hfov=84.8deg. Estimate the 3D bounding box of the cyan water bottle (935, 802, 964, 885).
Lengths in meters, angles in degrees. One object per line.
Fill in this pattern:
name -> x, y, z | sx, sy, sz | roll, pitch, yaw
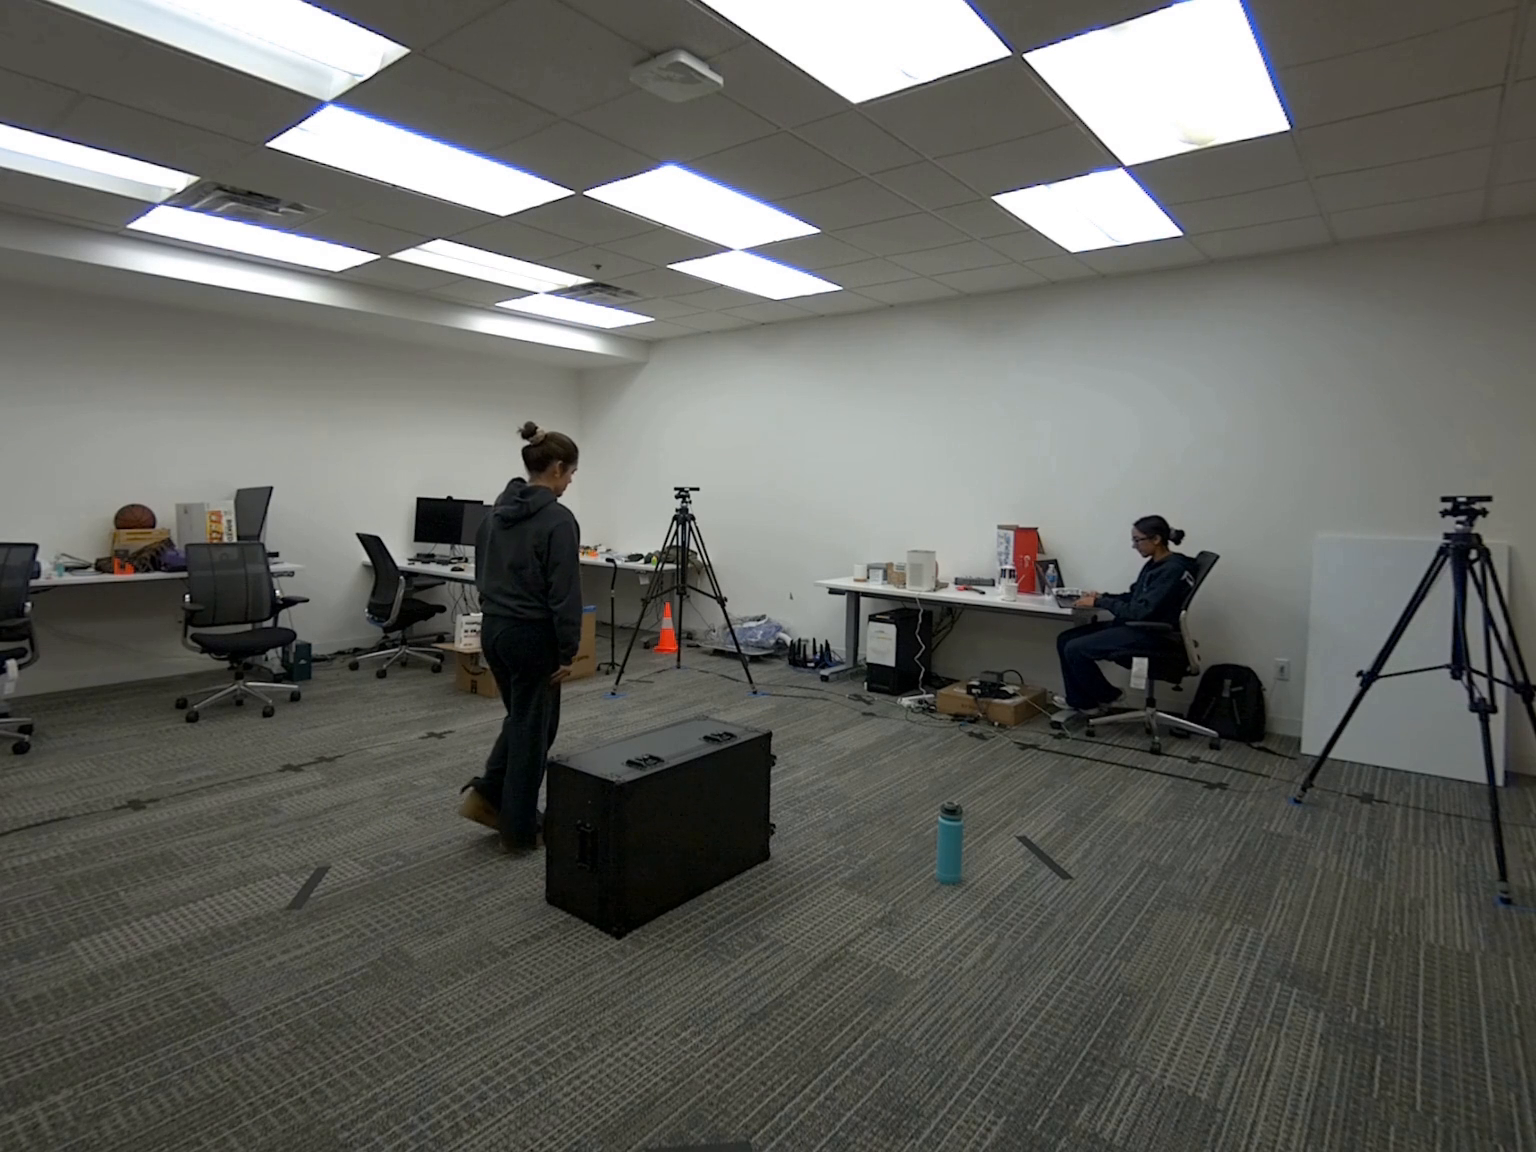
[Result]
cyan water bottle -> 0.661, 0.951, 3.063 | 0.092, 0.283, 0.093 | 2, 3, -2
